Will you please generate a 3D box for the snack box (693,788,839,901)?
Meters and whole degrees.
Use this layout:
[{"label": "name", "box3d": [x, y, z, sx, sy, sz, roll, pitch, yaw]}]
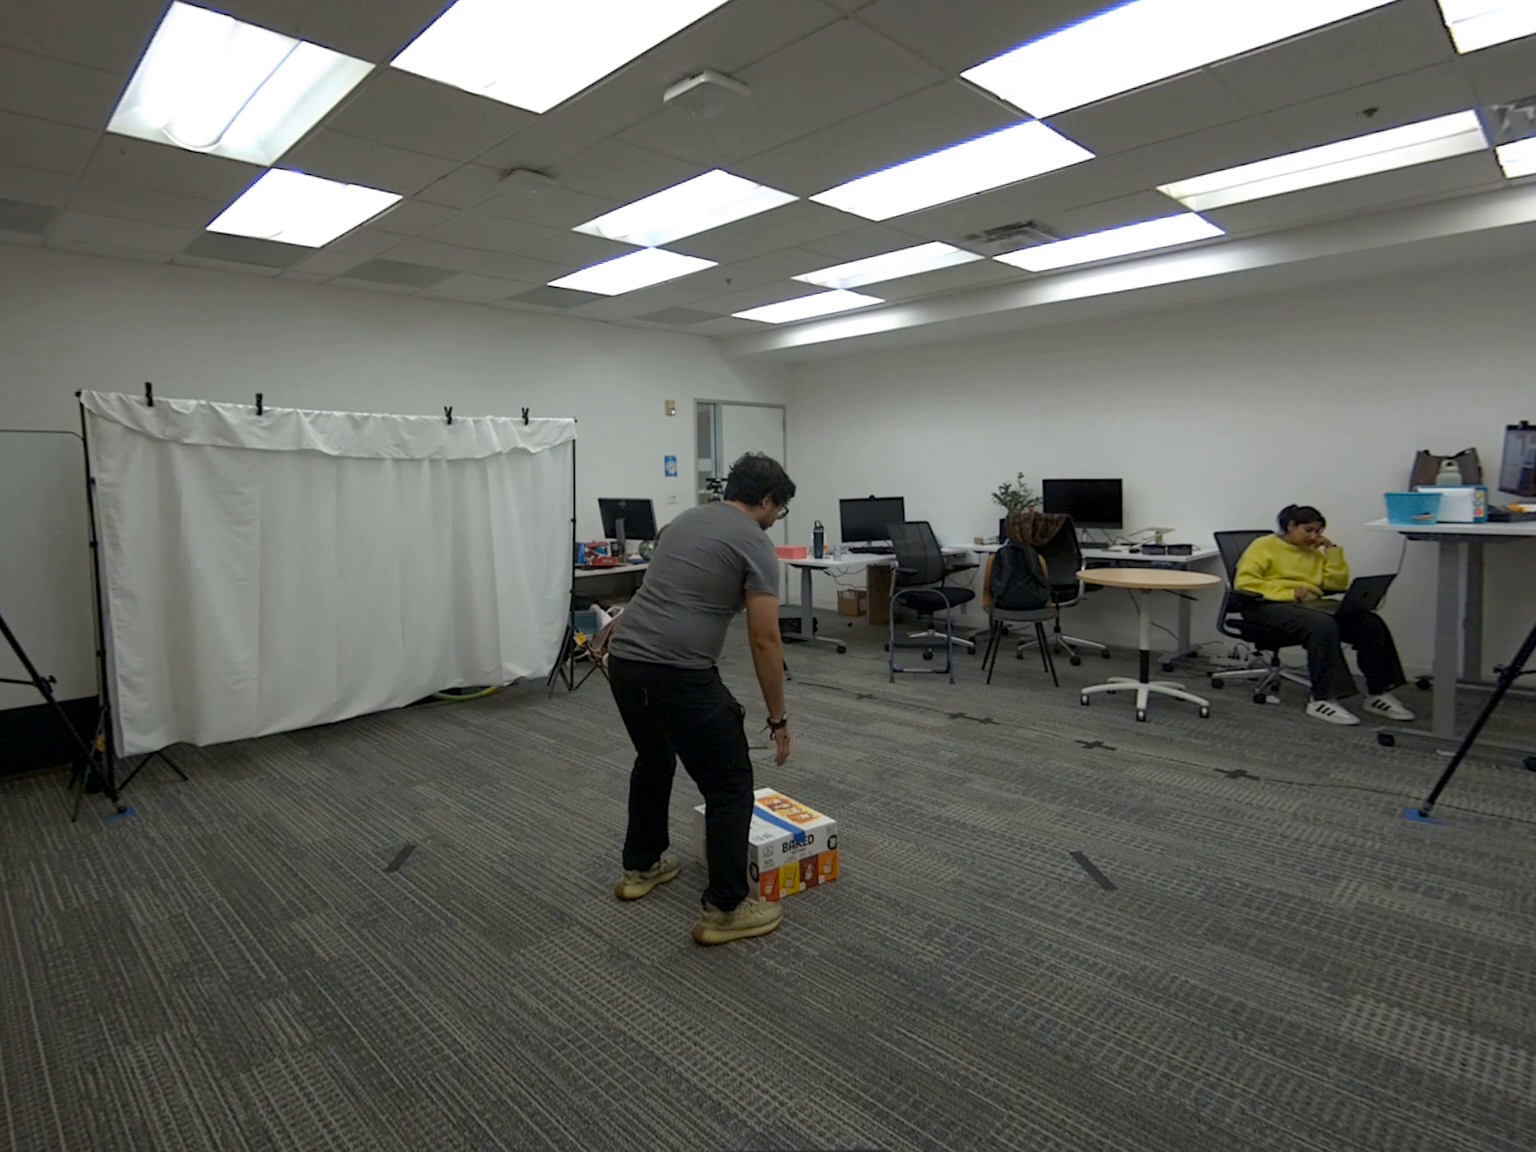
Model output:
[{"label": "snack box", "box3d": [-0.012, 0.949, 3.042, 0.332, 0.205, 0.417, -5, 7, -35]}]
